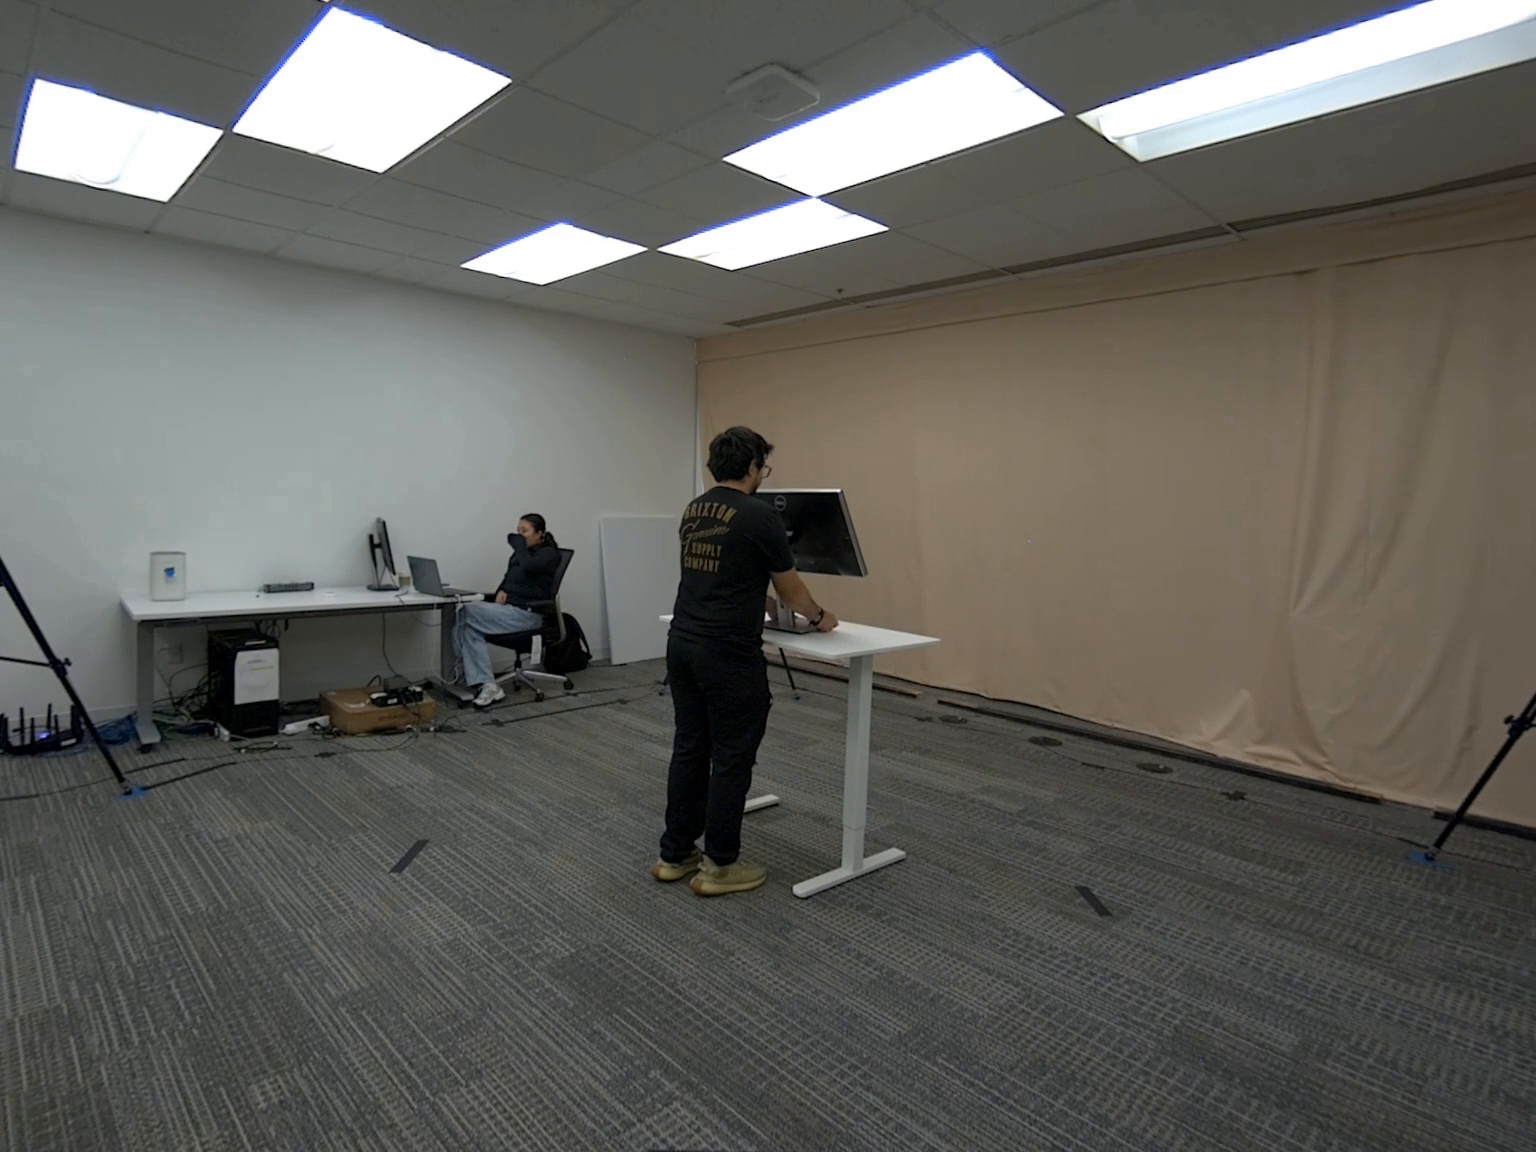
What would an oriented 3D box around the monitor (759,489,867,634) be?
[{"bbox_3d":[0.072,-0.061,3.263,0.580,0.545,0.208,5,25,43],"label":"monitor"}]
